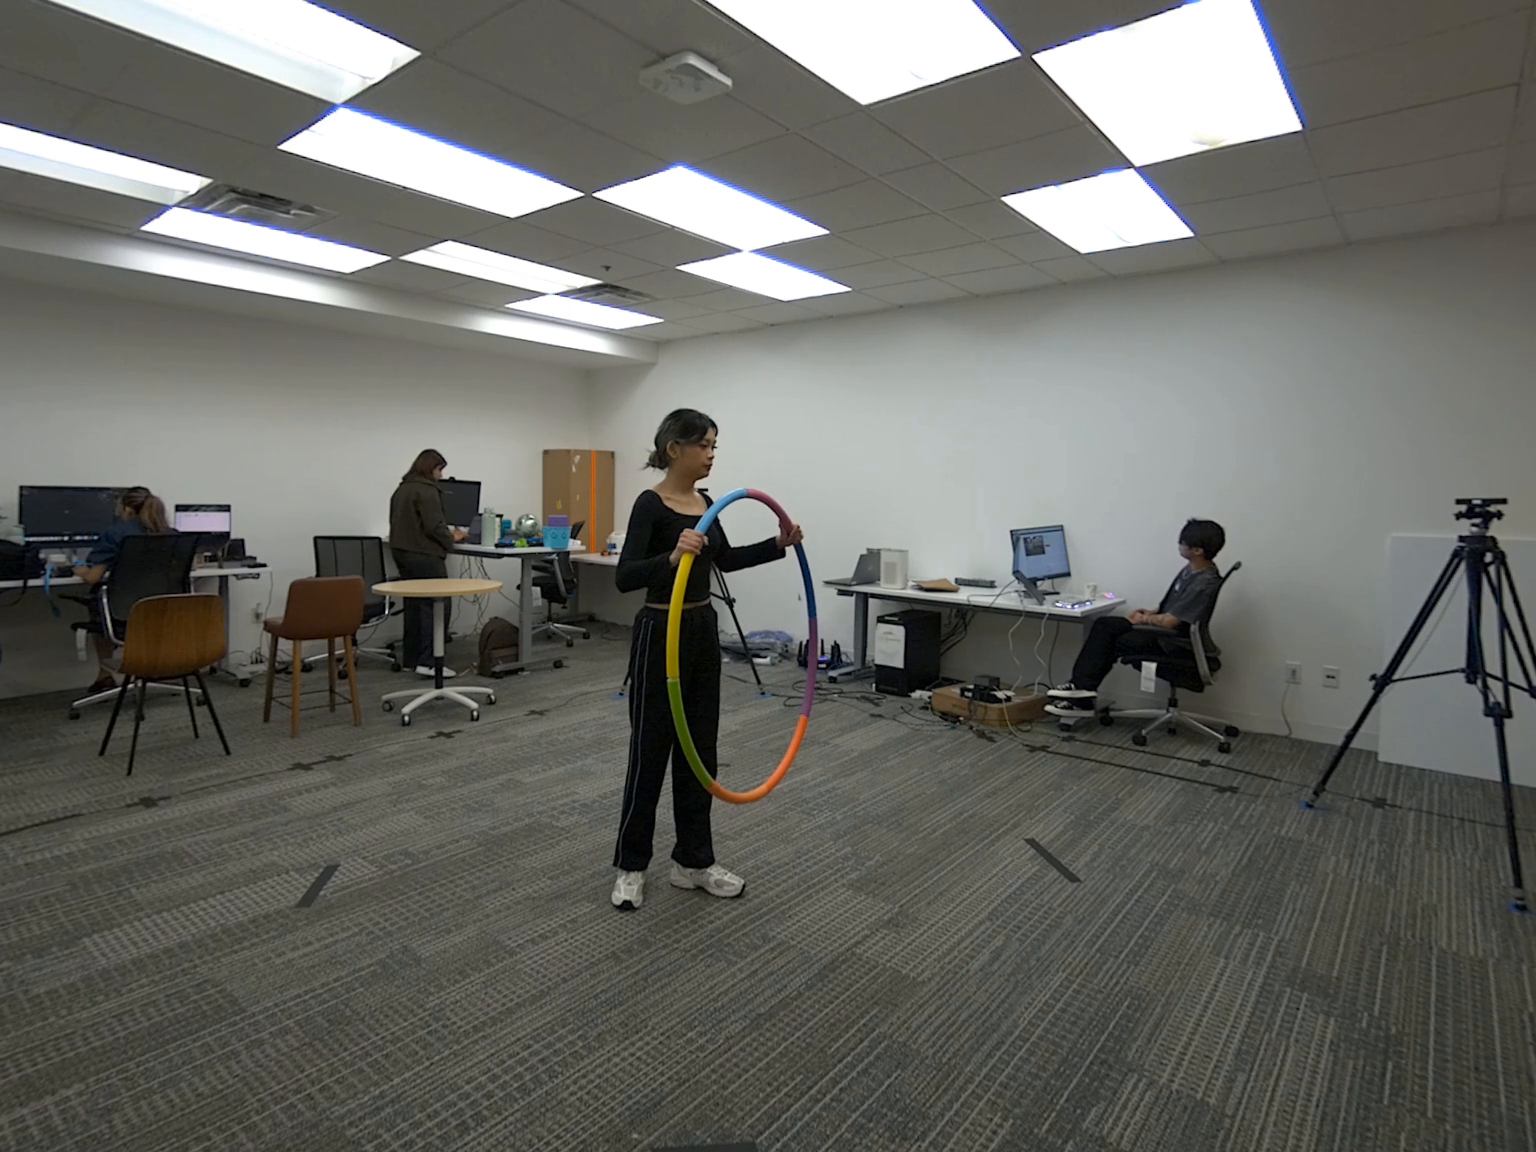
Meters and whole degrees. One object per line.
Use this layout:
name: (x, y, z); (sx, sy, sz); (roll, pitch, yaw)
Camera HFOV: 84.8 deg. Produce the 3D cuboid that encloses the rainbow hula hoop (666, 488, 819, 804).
rainbow hula hoop: (-0.061, 0.208, 2.748); (0.036, 0.978, 0.953); (-2, 2, 30)
